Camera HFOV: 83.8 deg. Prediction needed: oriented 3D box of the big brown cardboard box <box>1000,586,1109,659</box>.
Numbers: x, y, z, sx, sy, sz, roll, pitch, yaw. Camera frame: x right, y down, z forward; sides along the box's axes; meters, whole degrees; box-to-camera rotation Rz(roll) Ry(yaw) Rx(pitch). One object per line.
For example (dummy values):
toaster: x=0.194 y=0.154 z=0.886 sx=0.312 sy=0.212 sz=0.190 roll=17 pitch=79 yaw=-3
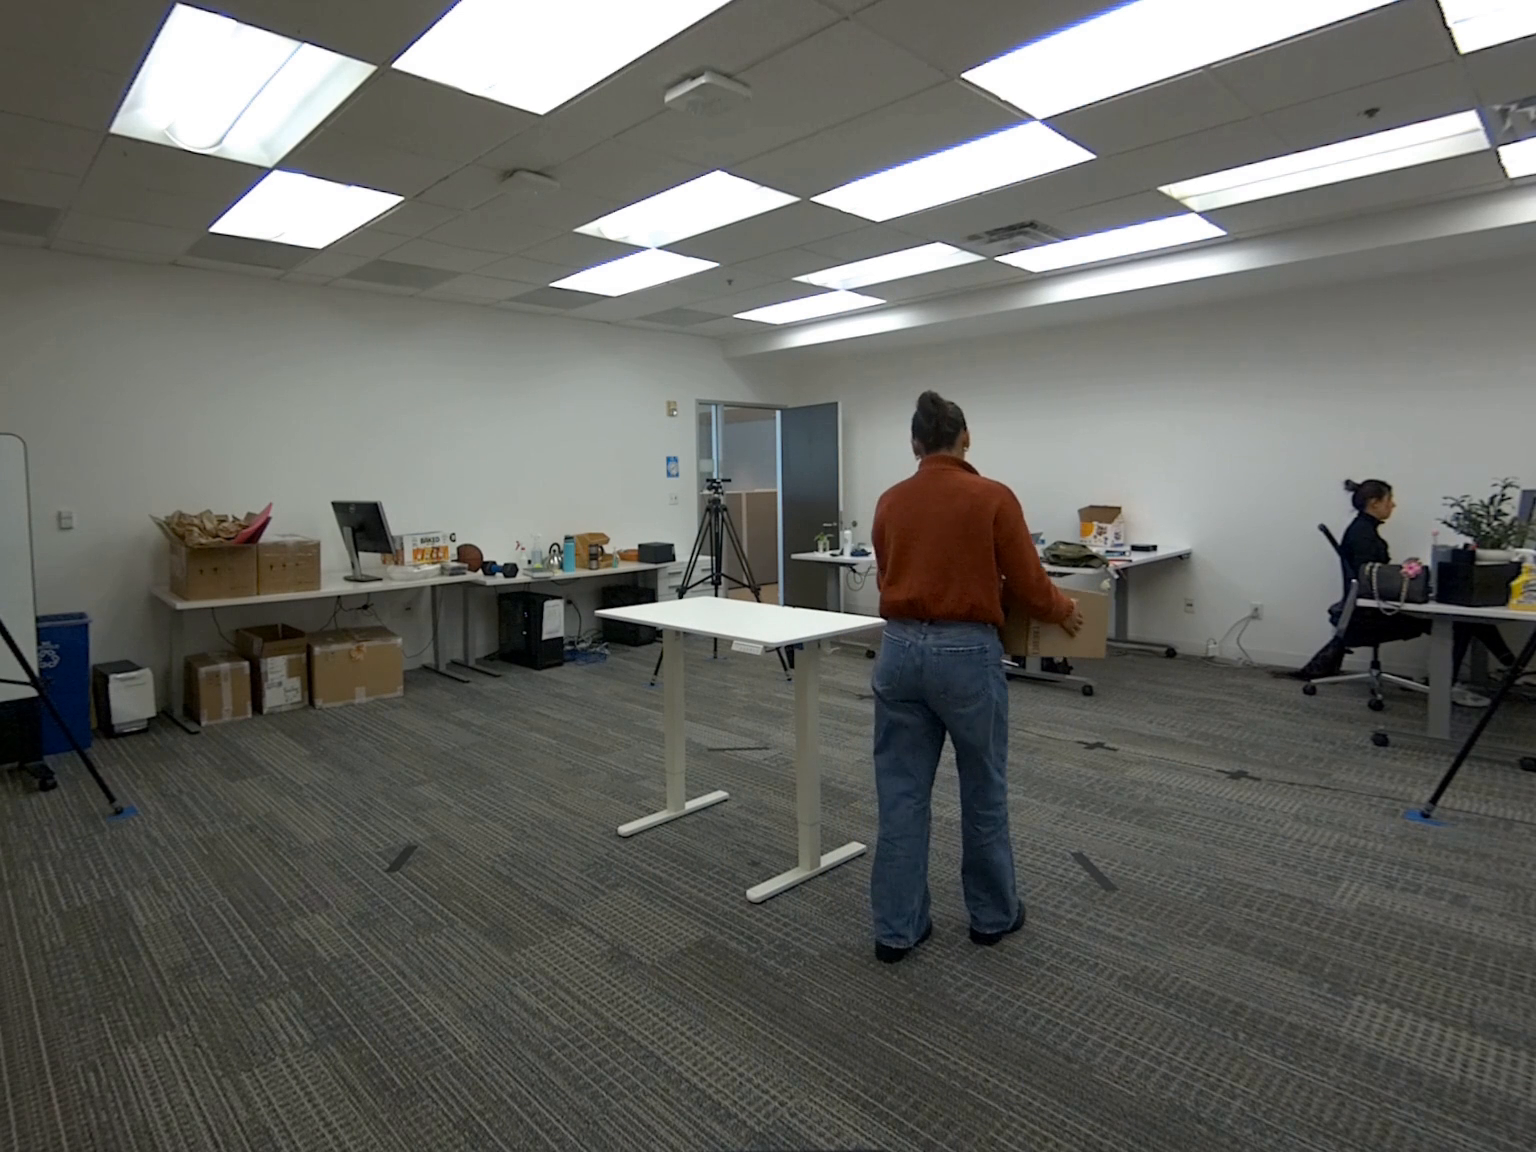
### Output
big brown cardboard box: x=0.782 y=0.127 z=2.785 sx=0.430 sy=0.234 sz=0.570 roll=2 pitch=-4 yaw=43
